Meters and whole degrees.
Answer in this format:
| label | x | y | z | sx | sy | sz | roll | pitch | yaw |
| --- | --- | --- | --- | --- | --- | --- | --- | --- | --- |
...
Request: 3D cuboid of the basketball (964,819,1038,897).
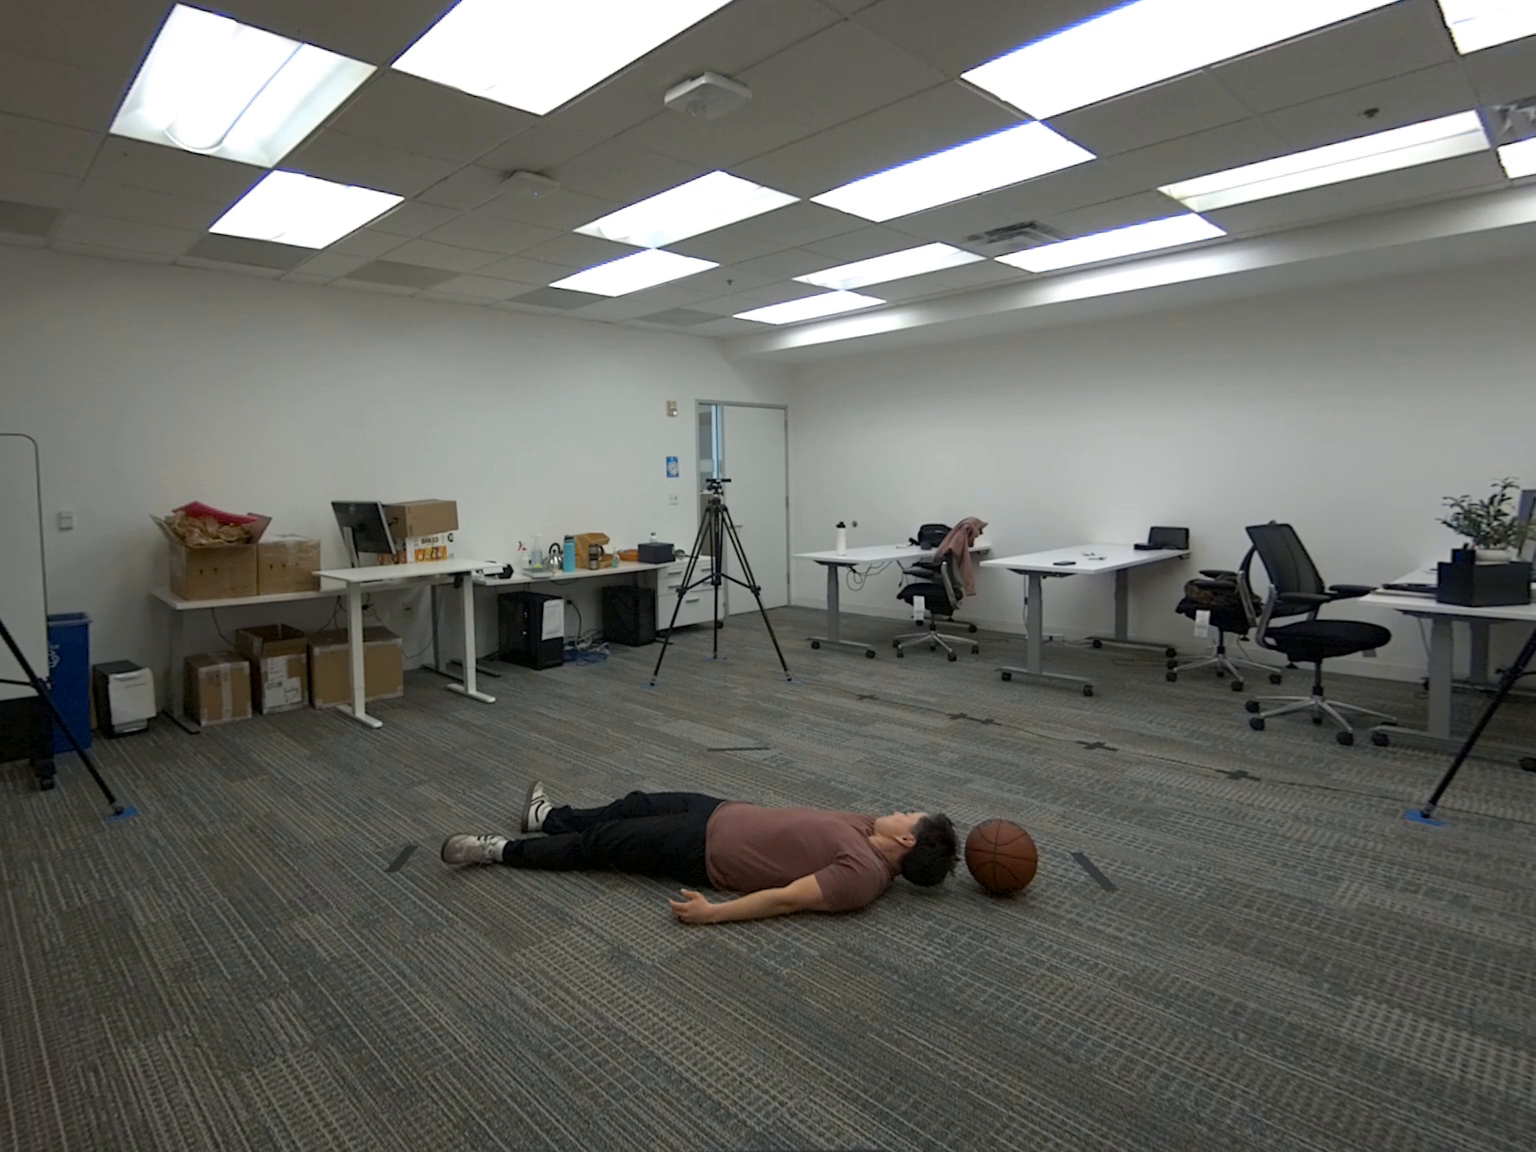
| label | x | y | z | sx | sy | sz | roll | pitch | yaw |
| --- | --- | --- | --- | --- | --- | --- | --- | --- | --- |
| basketball | 0.786 | 0.937 | 2.874 | 0.236 | 0.236 | 0.236 | 0 | 1 | -2 |
